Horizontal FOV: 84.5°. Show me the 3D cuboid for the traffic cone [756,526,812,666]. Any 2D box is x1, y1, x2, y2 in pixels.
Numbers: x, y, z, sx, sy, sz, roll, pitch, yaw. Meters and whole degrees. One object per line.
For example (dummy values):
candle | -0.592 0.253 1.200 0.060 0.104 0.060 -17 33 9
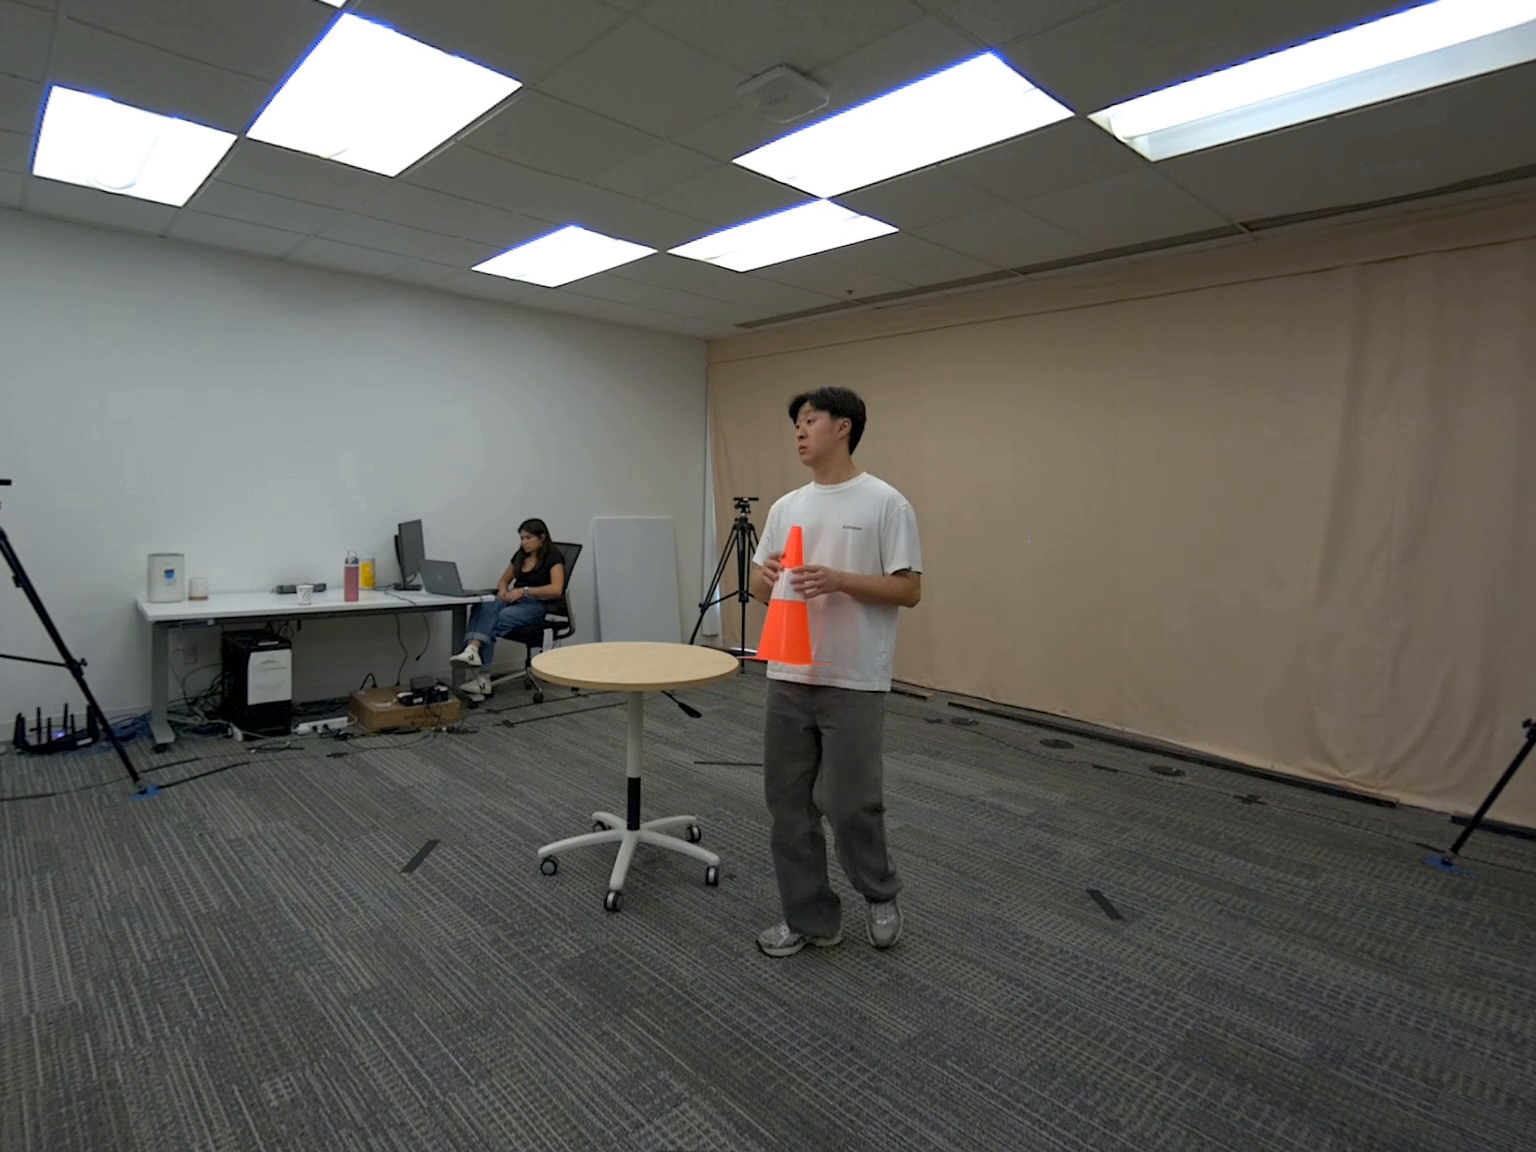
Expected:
traffic cone | 0.054 0.057 2.371 0.208 0.385 0.199 1 -6 22
